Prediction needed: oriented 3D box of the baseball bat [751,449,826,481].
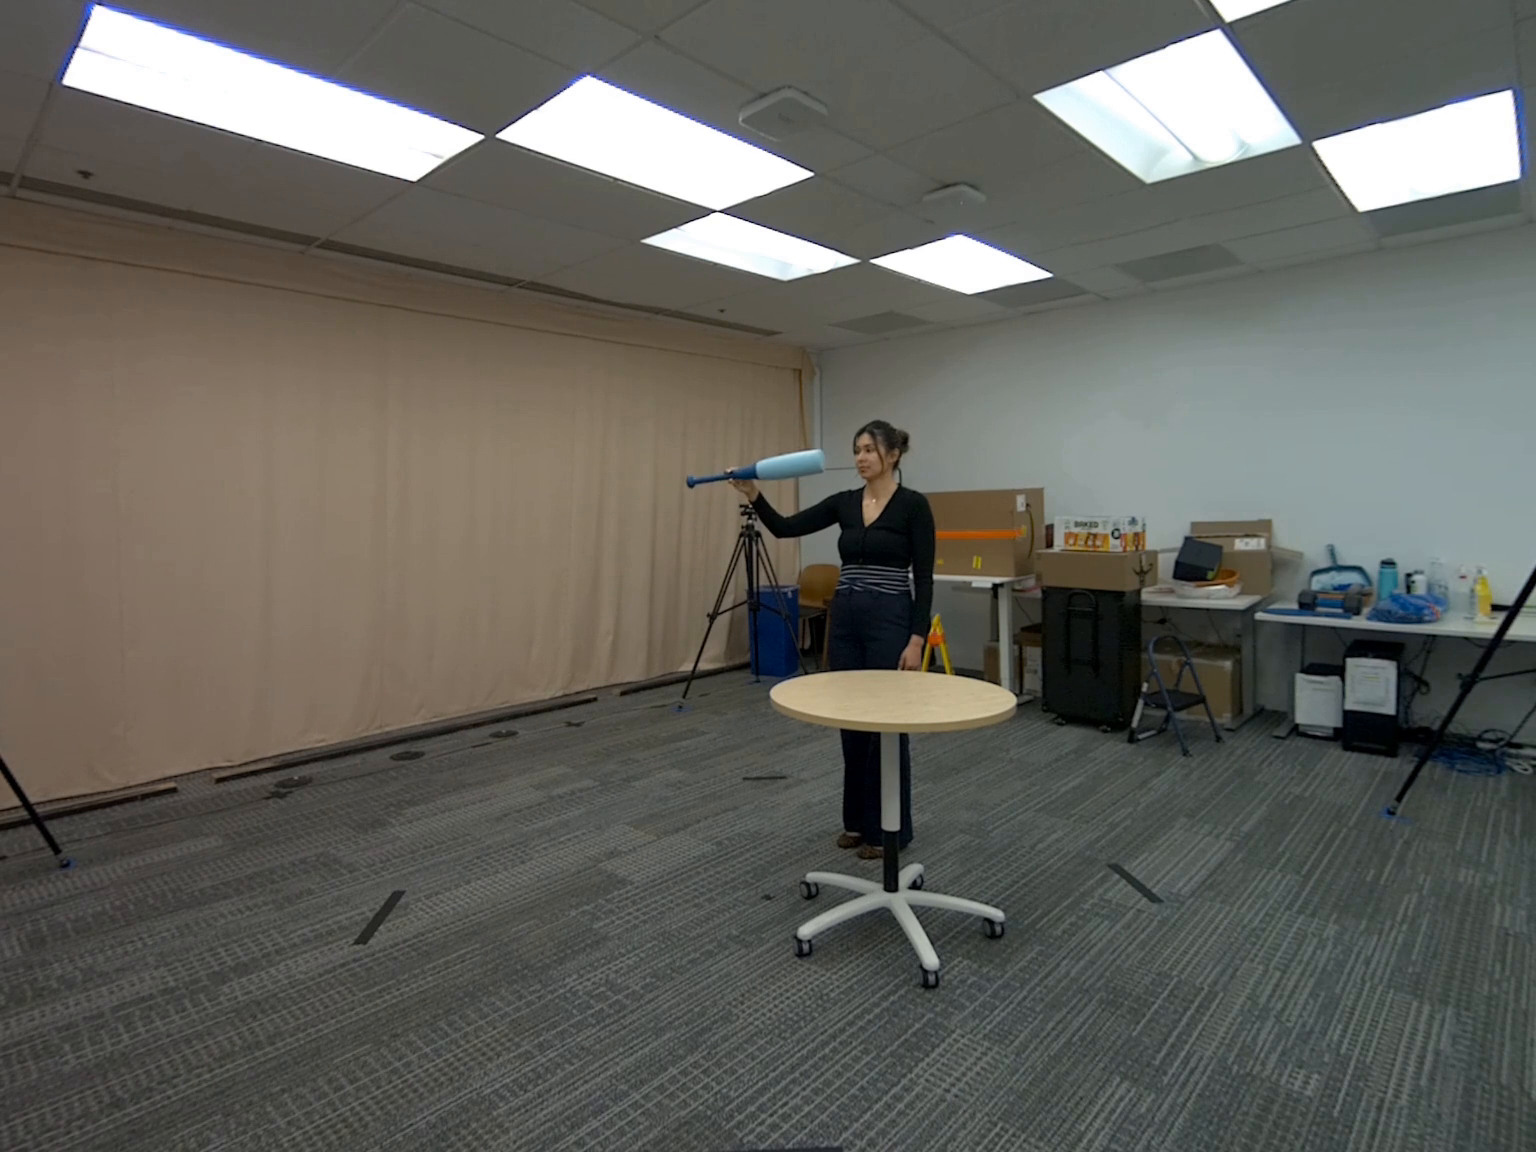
[{"bbox_3d":[-0.057,-0.380,3.146,0.554,0.089,0.087,-6,2,20],"label":"baseball bat"}]
